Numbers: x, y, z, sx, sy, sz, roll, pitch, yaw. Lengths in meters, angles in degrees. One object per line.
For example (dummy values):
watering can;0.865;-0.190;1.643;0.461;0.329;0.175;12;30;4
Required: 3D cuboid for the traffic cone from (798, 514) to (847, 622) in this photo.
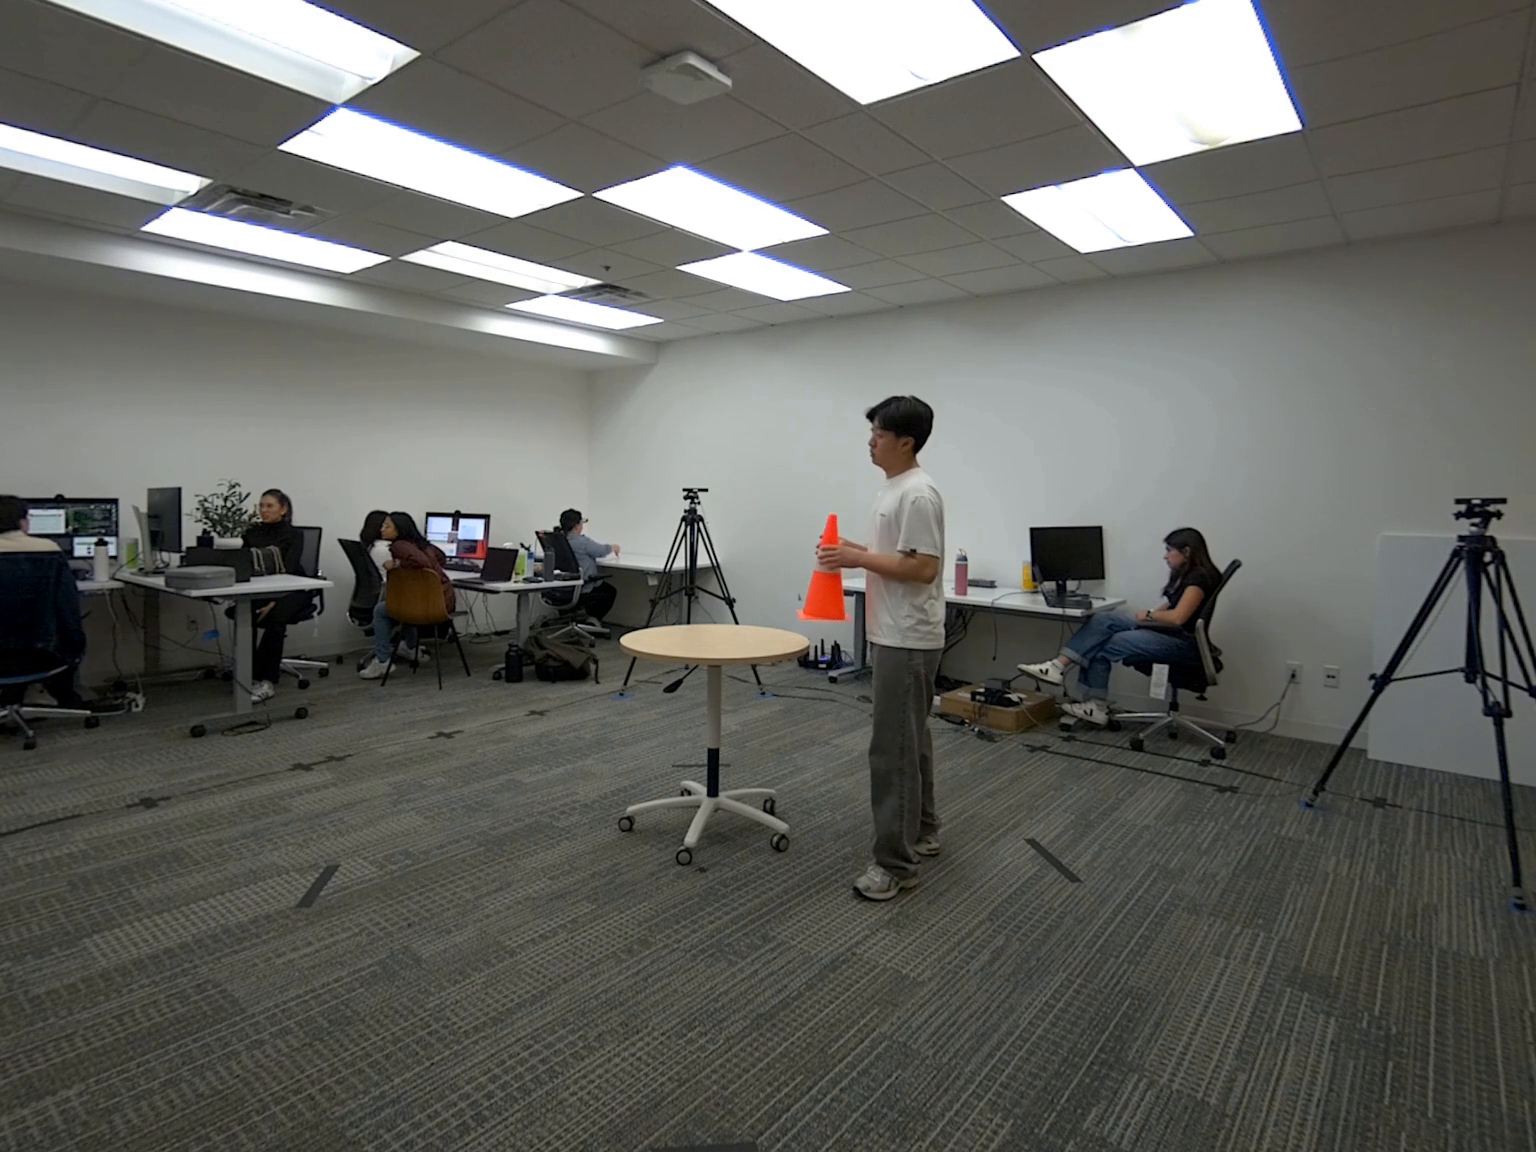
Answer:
traffic cone;0.235;-0.049;3.168;0.201;0.381;0.208;0;8;-17
